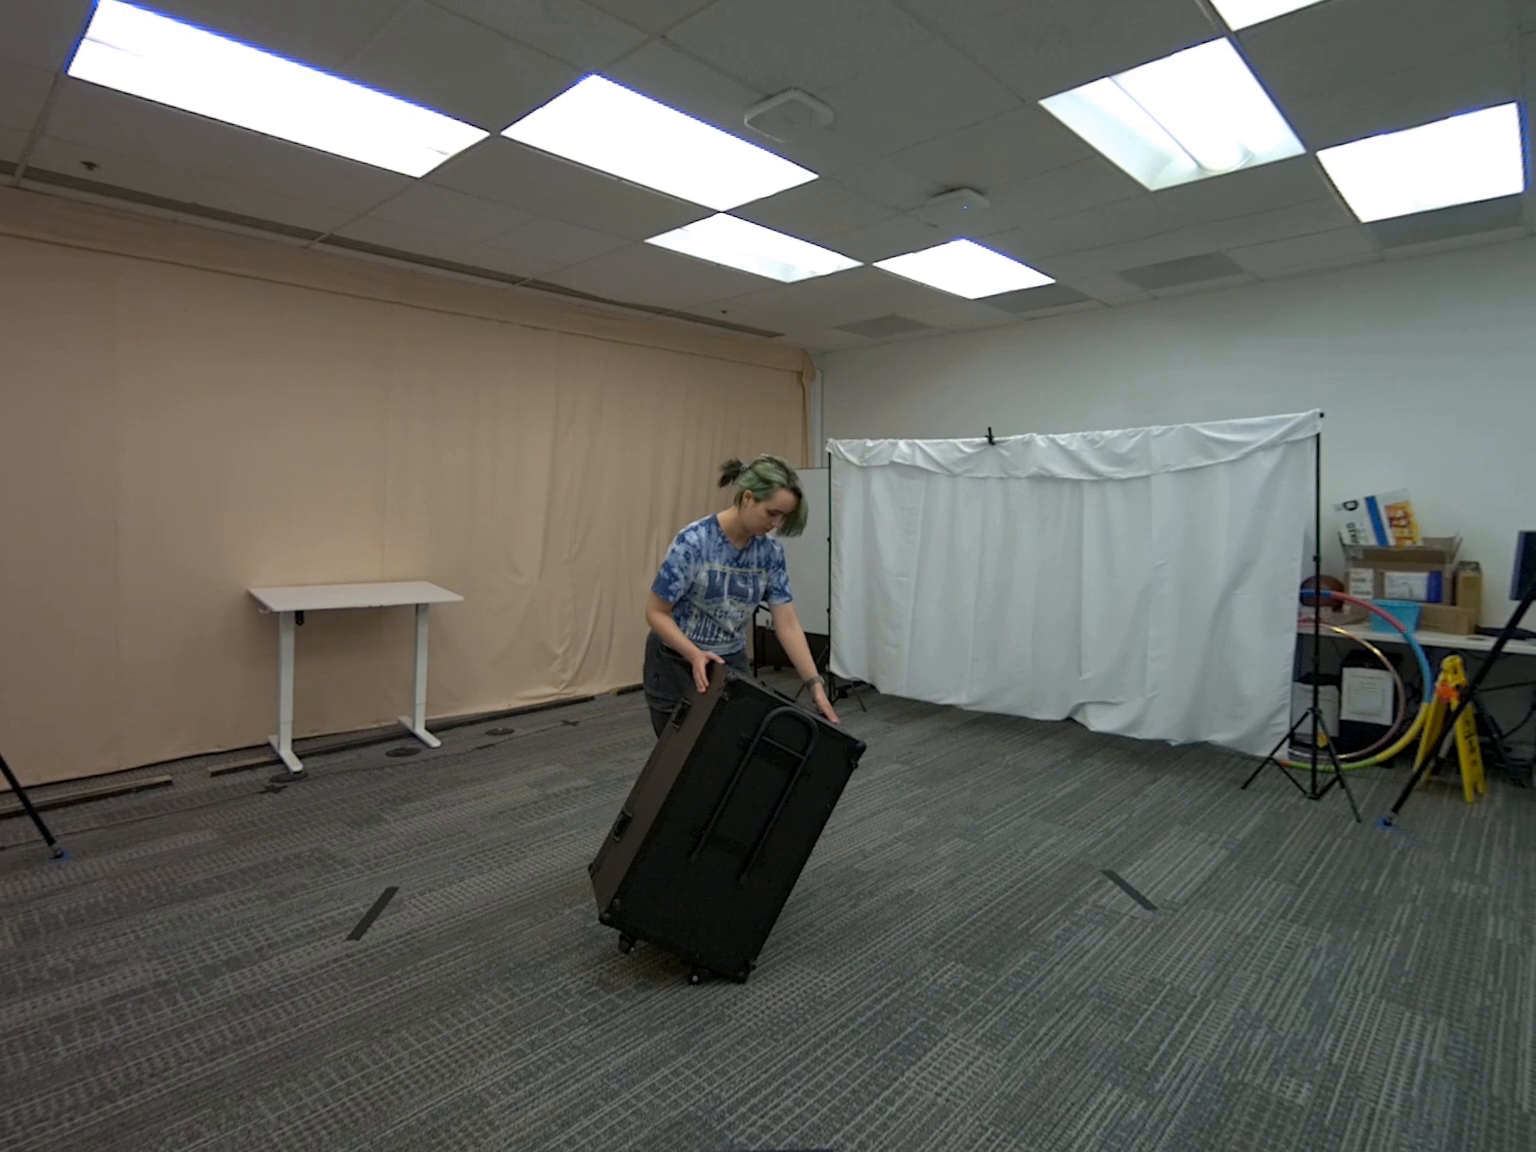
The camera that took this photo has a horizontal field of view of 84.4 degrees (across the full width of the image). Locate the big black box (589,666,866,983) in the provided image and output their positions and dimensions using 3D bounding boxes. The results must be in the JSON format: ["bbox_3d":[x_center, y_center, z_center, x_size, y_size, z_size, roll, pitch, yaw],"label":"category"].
[{"bbox_3d":[-0.144,0.754,2.576,0.512,0.861,0.403,30,-2,-15],"label":"big black box"}]
